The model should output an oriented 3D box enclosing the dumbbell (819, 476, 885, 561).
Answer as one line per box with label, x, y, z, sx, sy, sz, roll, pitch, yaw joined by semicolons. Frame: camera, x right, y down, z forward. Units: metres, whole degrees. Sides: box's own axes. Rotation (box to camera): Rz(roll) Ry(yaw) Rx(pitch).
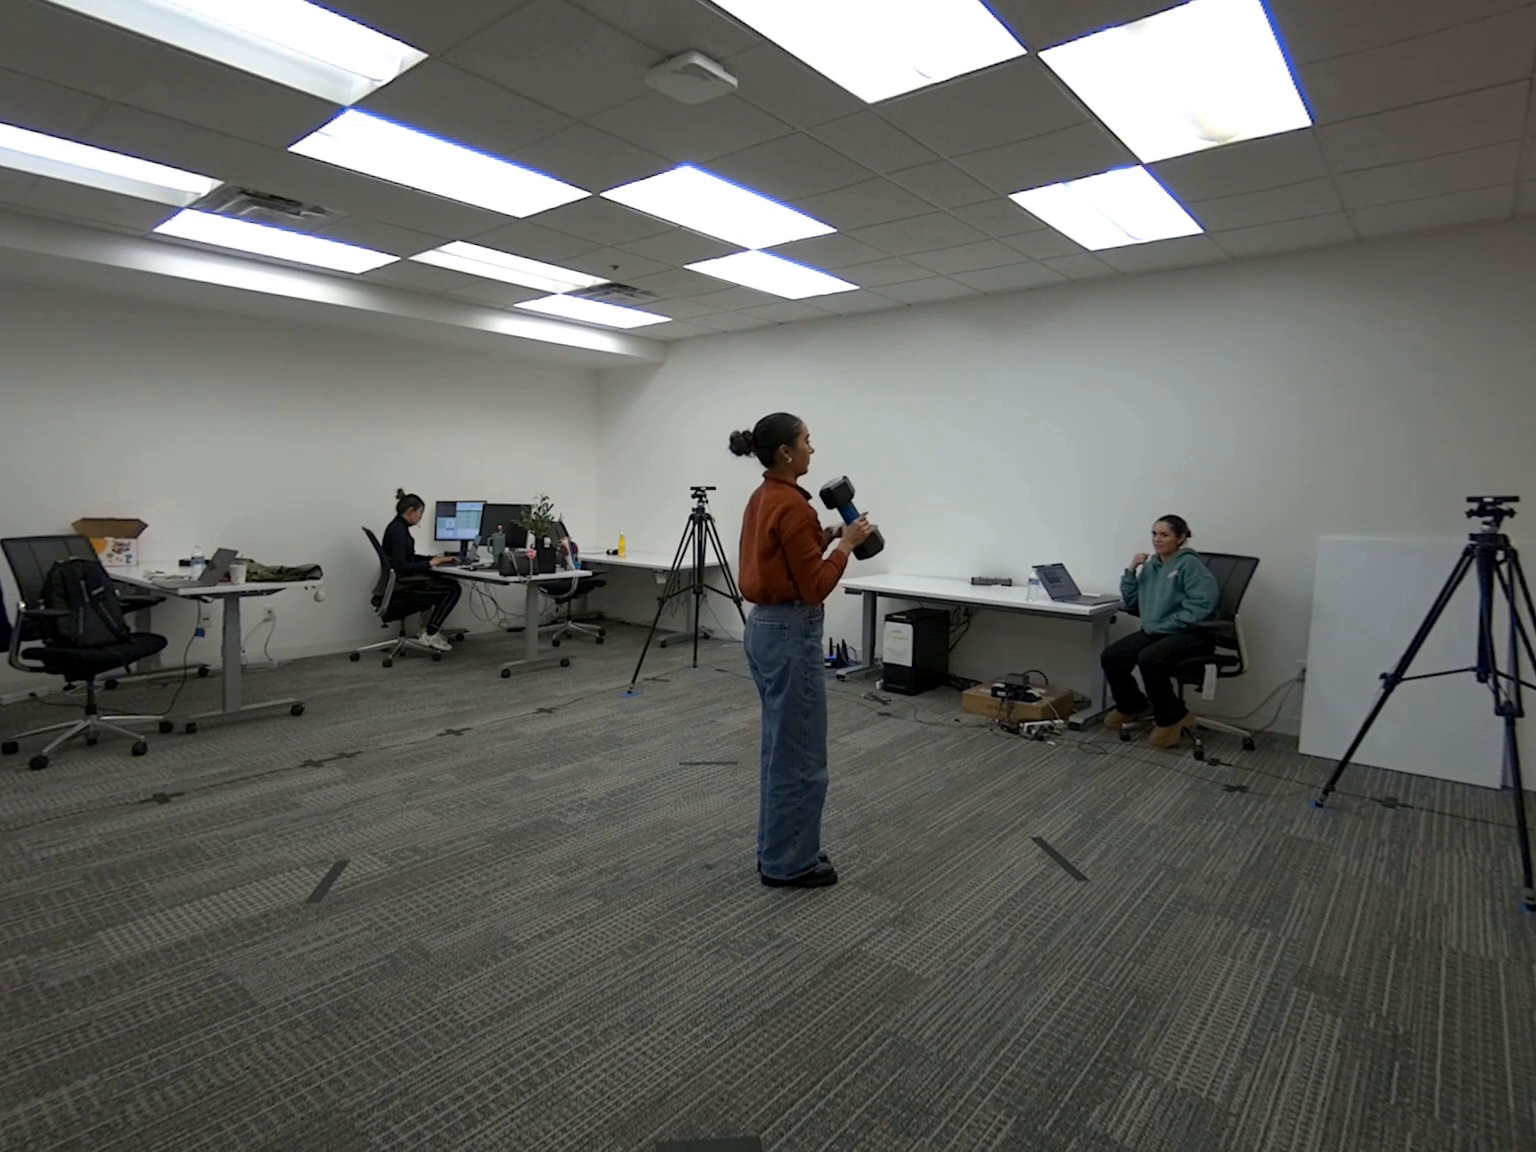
dumbbell;0.286;-0.202;2.972;0.122;0.290;0.110;-33;9;-7
